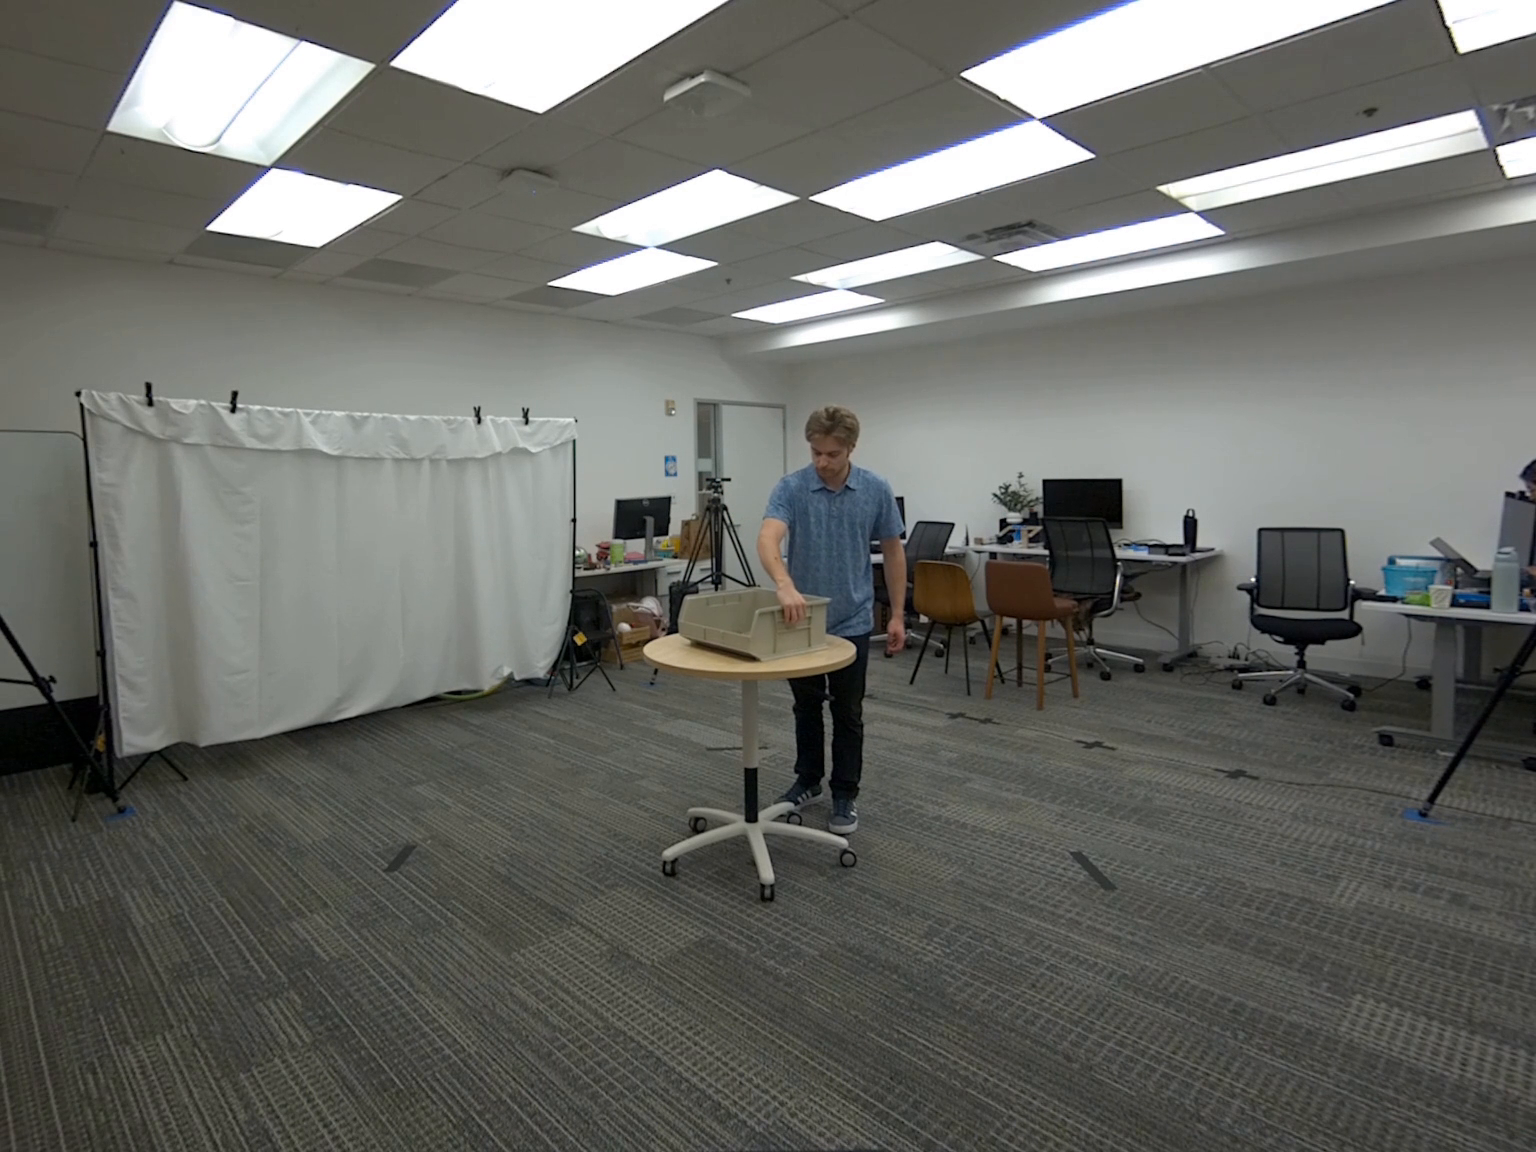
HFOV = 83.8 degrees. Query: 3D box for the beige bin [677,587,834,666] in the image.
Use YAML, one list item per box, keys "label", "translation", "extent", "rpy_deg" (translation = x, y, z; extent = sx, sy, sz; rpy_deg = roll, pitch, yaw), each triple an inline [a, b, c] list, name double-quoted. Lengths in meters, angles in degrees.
- label: "beige bin"
  translation: [-0.052, 0.168, 3.085]
  extent: [0.367, 0.188, 0.435]
  rpy_deg: [-4, 7, -37]
